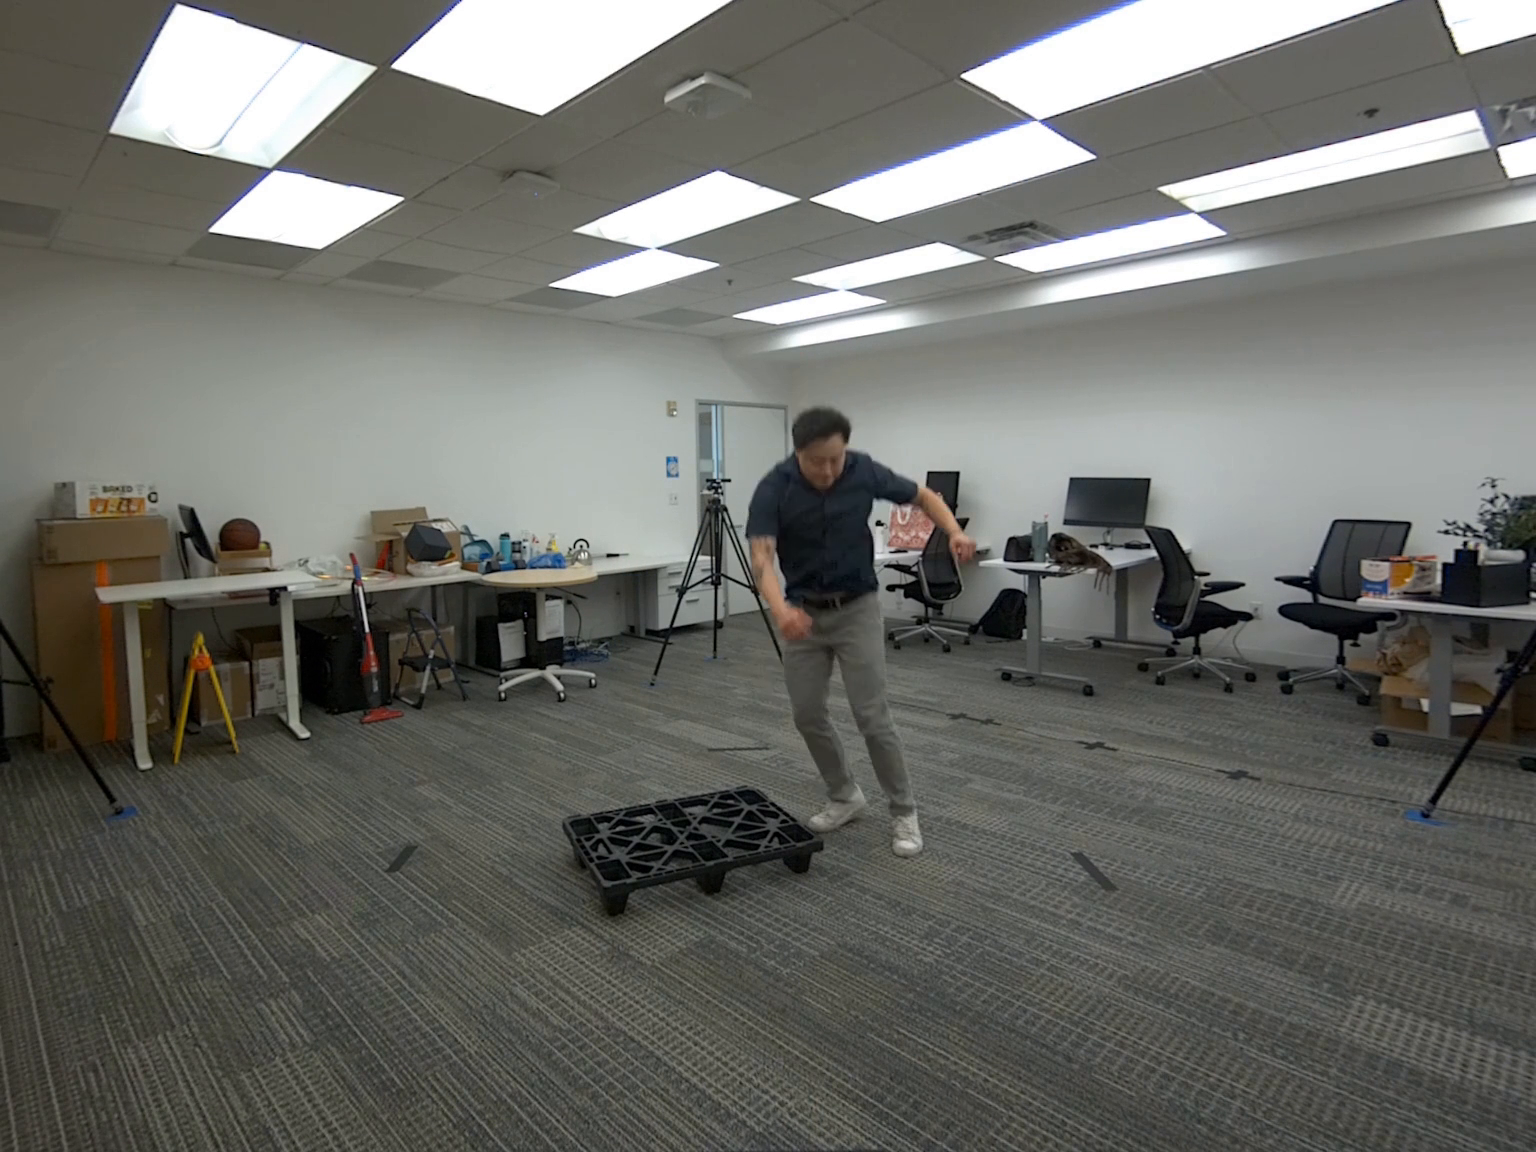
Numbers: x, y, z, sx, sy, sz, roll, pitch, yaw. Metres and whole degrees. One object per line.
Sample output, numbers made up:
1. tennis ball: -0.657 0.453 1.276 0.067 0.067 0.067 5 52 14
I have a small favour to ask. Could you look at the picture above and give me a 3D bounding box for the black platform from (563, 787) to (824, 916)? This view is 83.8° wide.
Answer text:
1. black platform: -0.289 0.983 3.100 0.789 0.143 0.620 -4 7 -24
